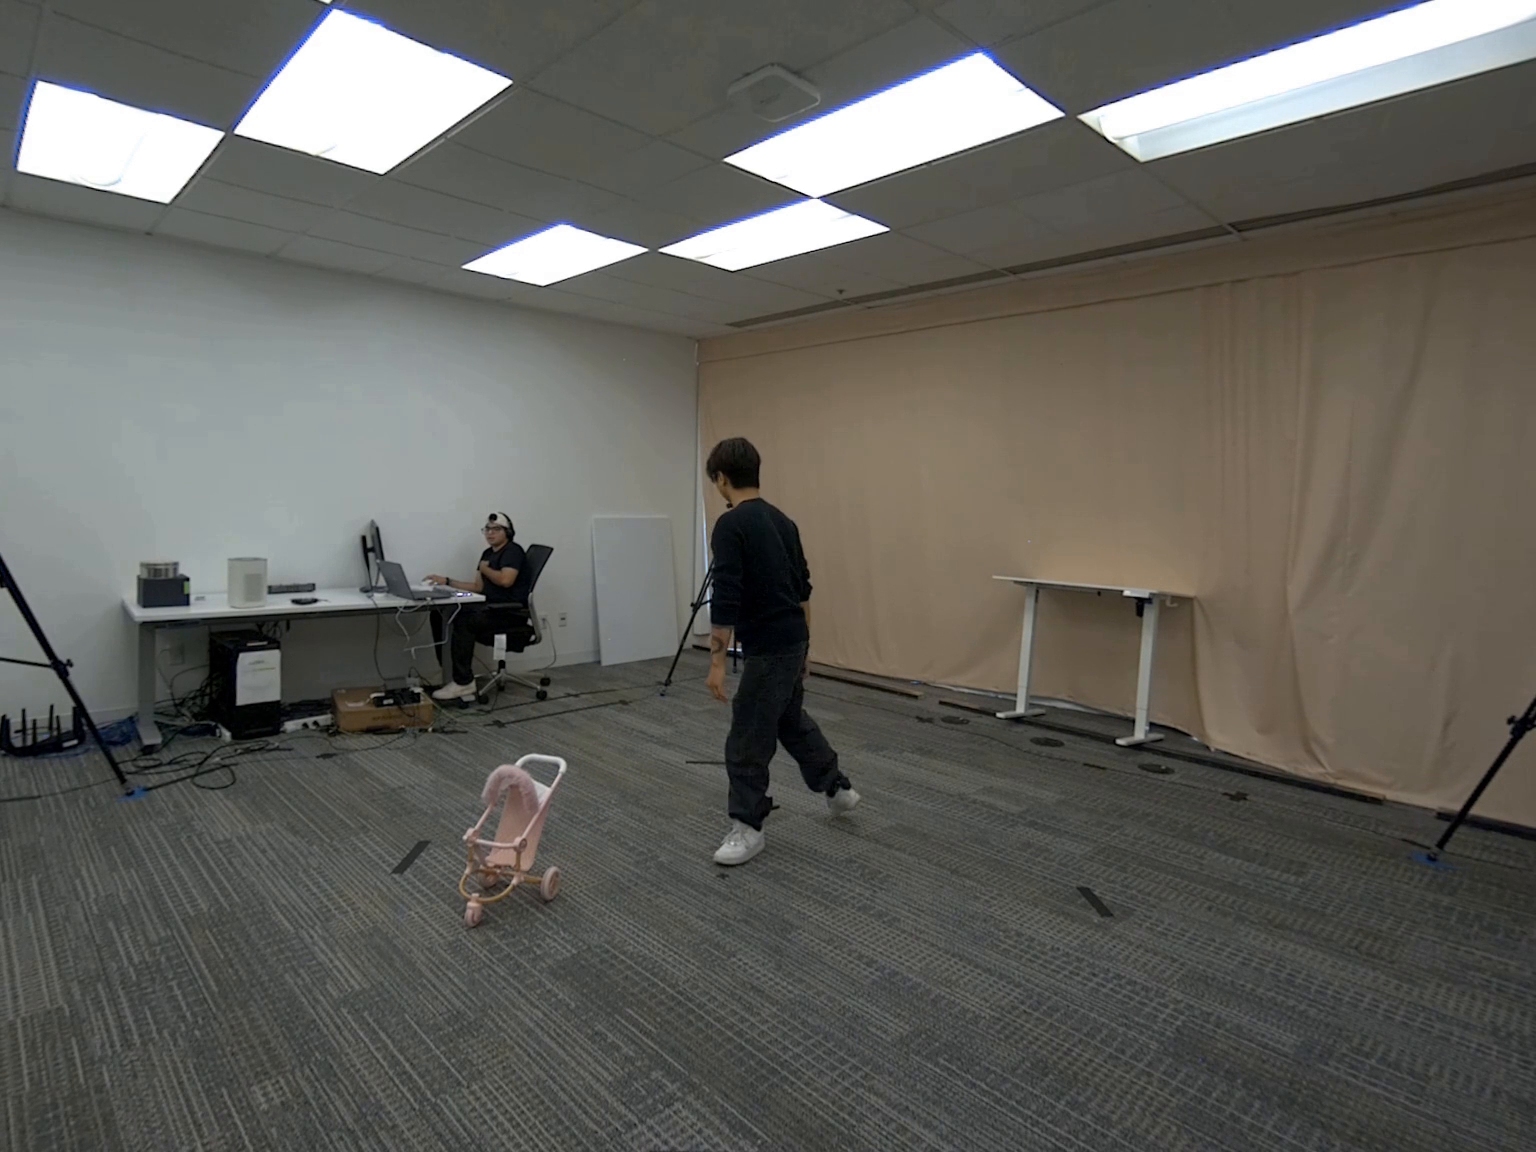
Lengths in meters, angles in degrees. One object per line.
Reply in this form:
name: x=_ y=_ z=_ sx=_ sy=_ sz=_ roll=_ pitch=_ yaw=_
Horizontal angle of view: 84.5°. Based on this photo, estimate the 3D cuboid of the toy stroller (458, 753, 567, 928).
toy stroller: x=-0.890 y=0.887 z=2.864 sx=0.287 sy=0.538 sz=0.333 roll=2 pitch=-11 yaw=24
